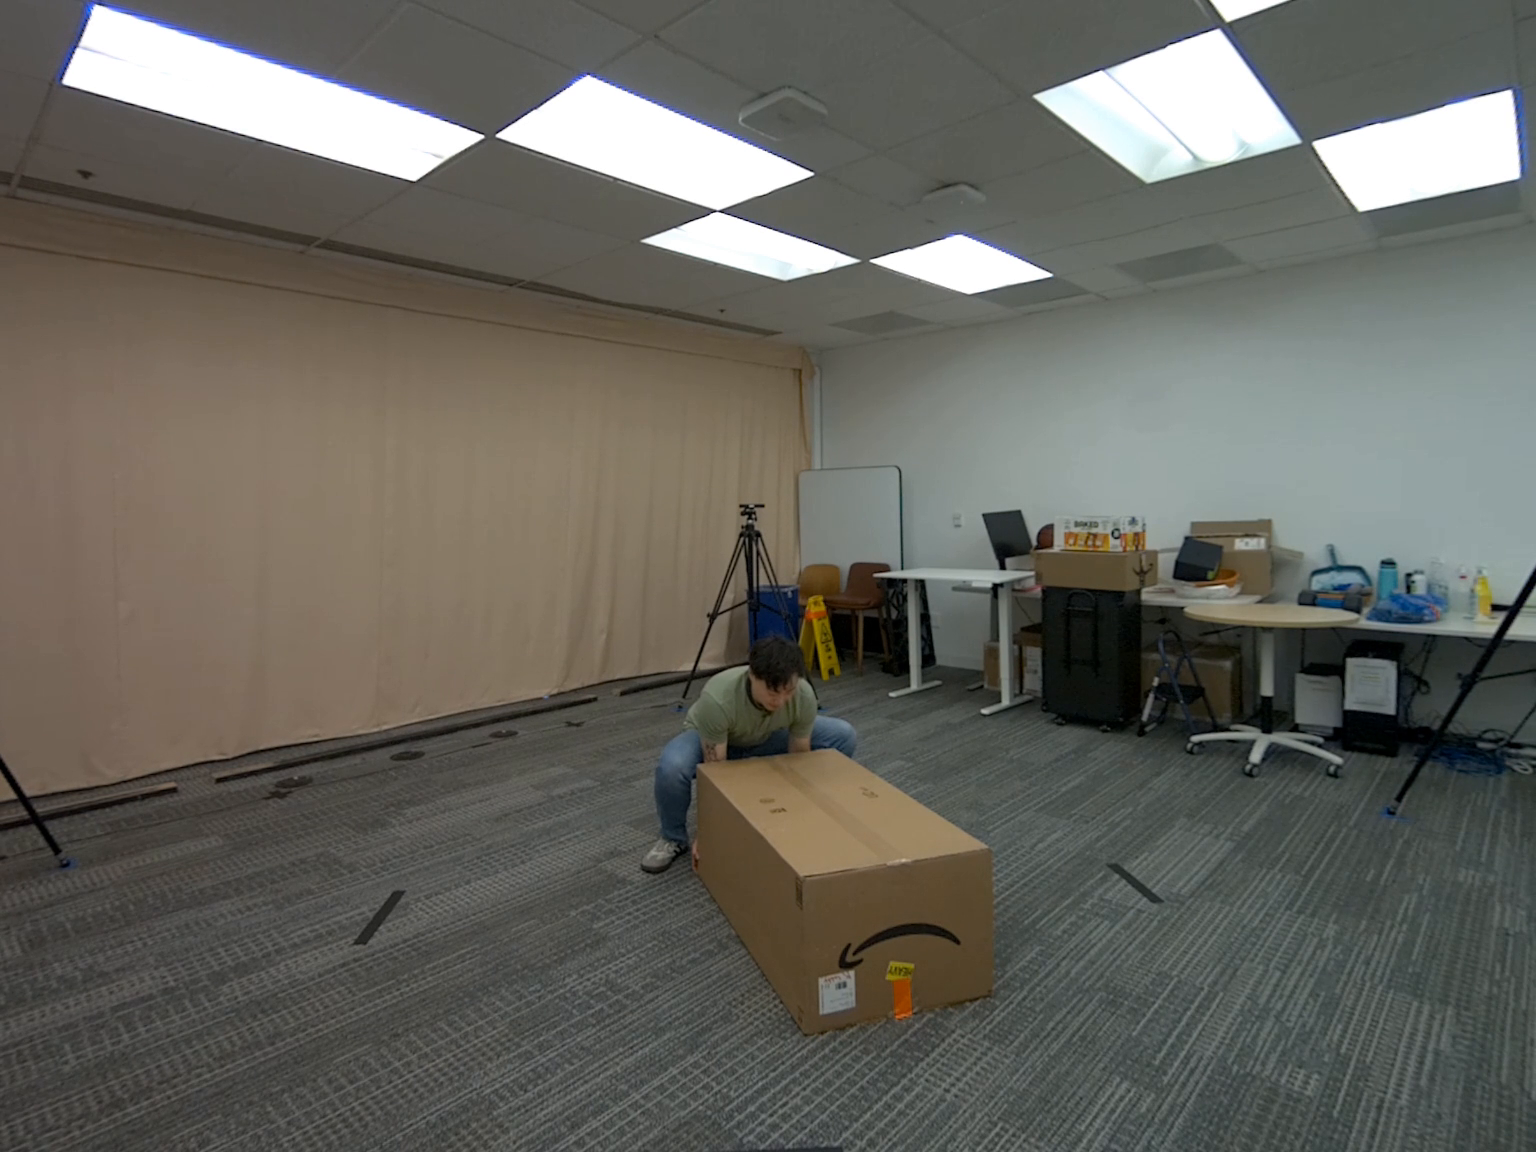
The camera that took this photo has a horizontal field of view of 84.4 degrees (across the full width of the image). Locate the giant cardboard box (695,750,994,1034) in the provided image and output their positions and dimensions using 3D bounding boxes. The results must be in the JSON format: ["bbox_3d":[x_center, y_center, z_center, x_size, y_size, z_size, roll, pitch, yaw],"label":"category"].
[{"bbox_3d":[0.185,0.940,2.750,0.567,0.425,1.048,-2,5,-20],"label":"giant cardboard box"}]
